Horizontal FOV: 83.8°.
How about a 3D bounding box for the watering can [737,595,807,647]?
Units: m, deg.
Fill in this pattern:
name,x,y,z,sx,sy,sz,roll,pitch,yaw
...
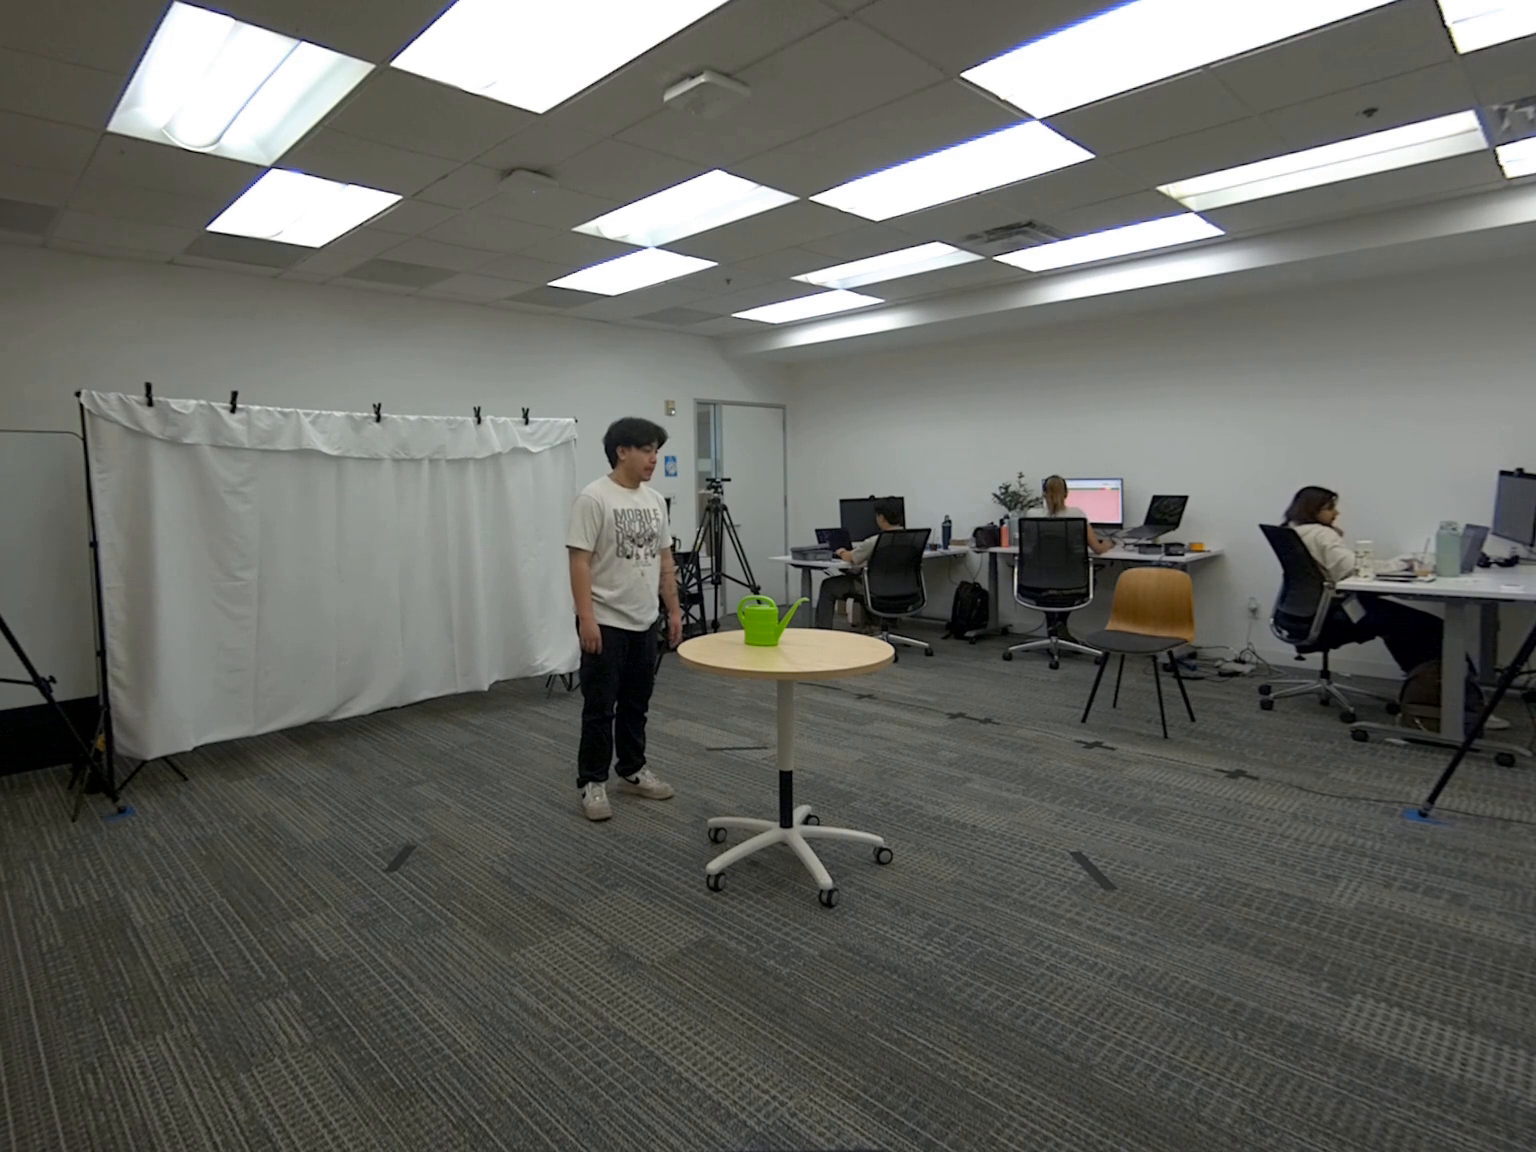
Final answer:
name,x,y,z,sx,sy,sz,roll,pitch,yaw
watering can,0.016,0.165,3.083,0.287,0.176,0.095,3,3,40
